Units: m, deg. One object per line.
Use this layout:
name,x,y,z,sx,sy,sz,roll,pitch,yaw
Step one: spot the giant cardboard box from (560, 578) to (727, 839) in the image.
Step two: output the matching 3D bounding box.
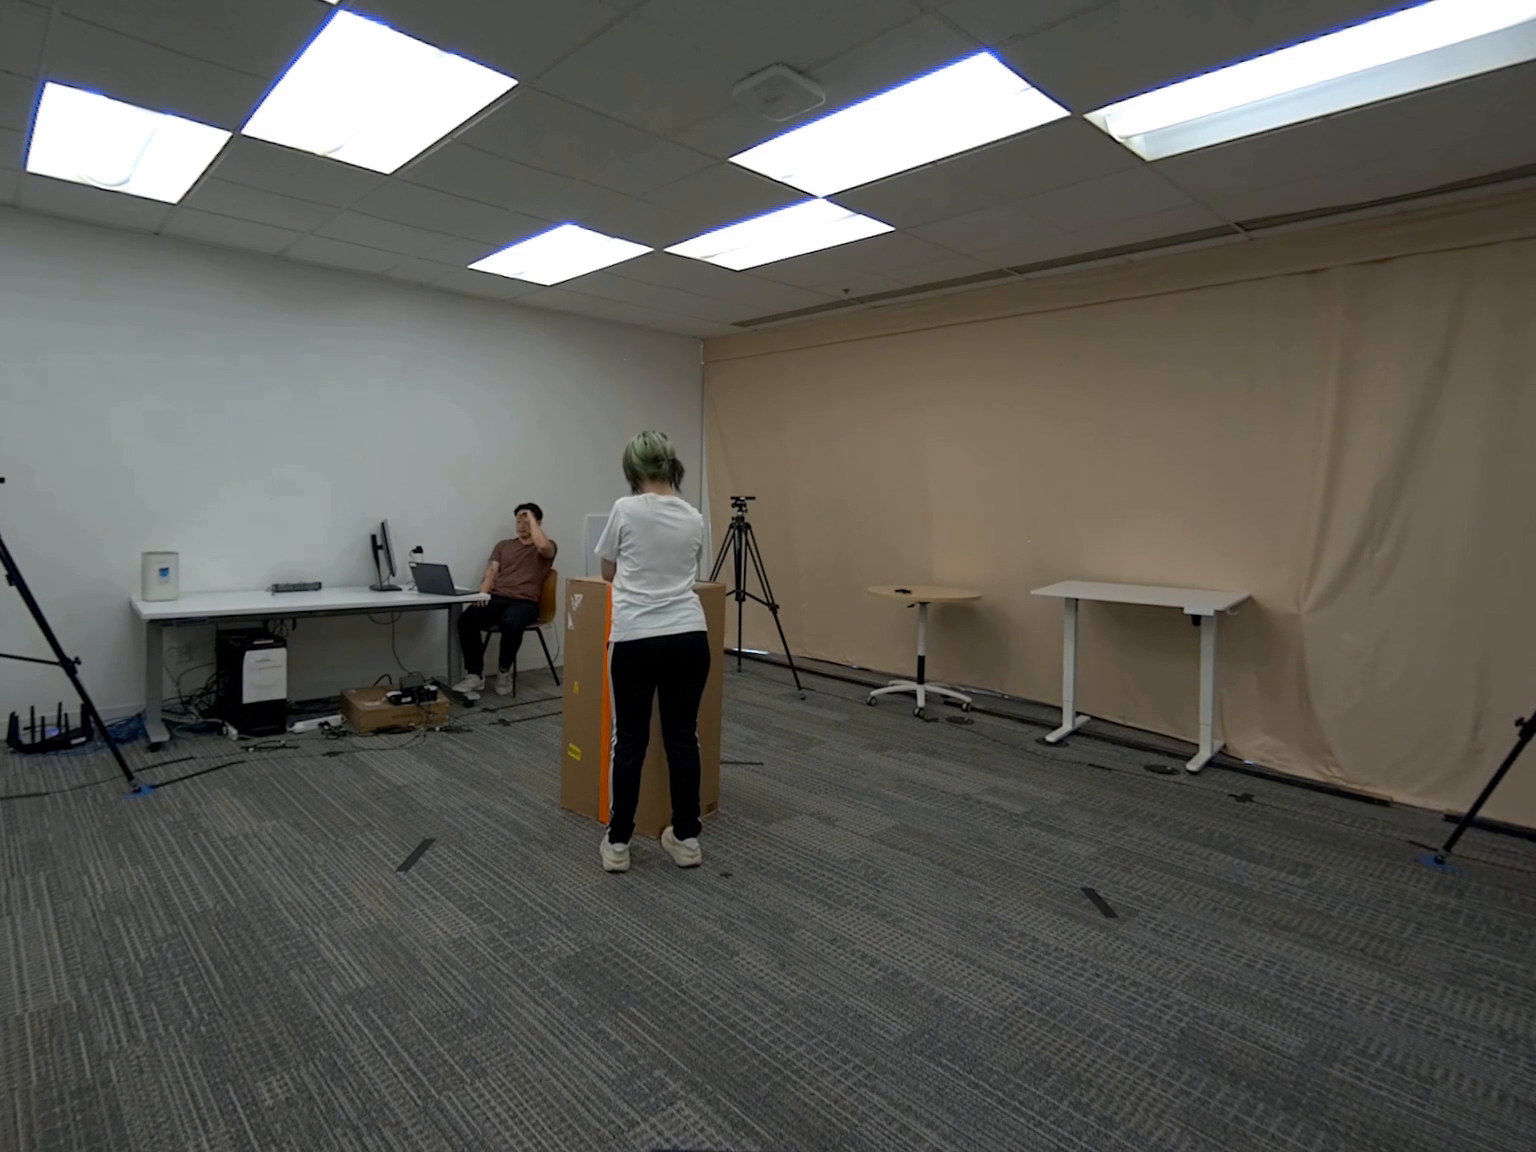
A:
giant cardboard box,-0.565,0.537,3.722,0.598,1.025,0.437,5,4,34
